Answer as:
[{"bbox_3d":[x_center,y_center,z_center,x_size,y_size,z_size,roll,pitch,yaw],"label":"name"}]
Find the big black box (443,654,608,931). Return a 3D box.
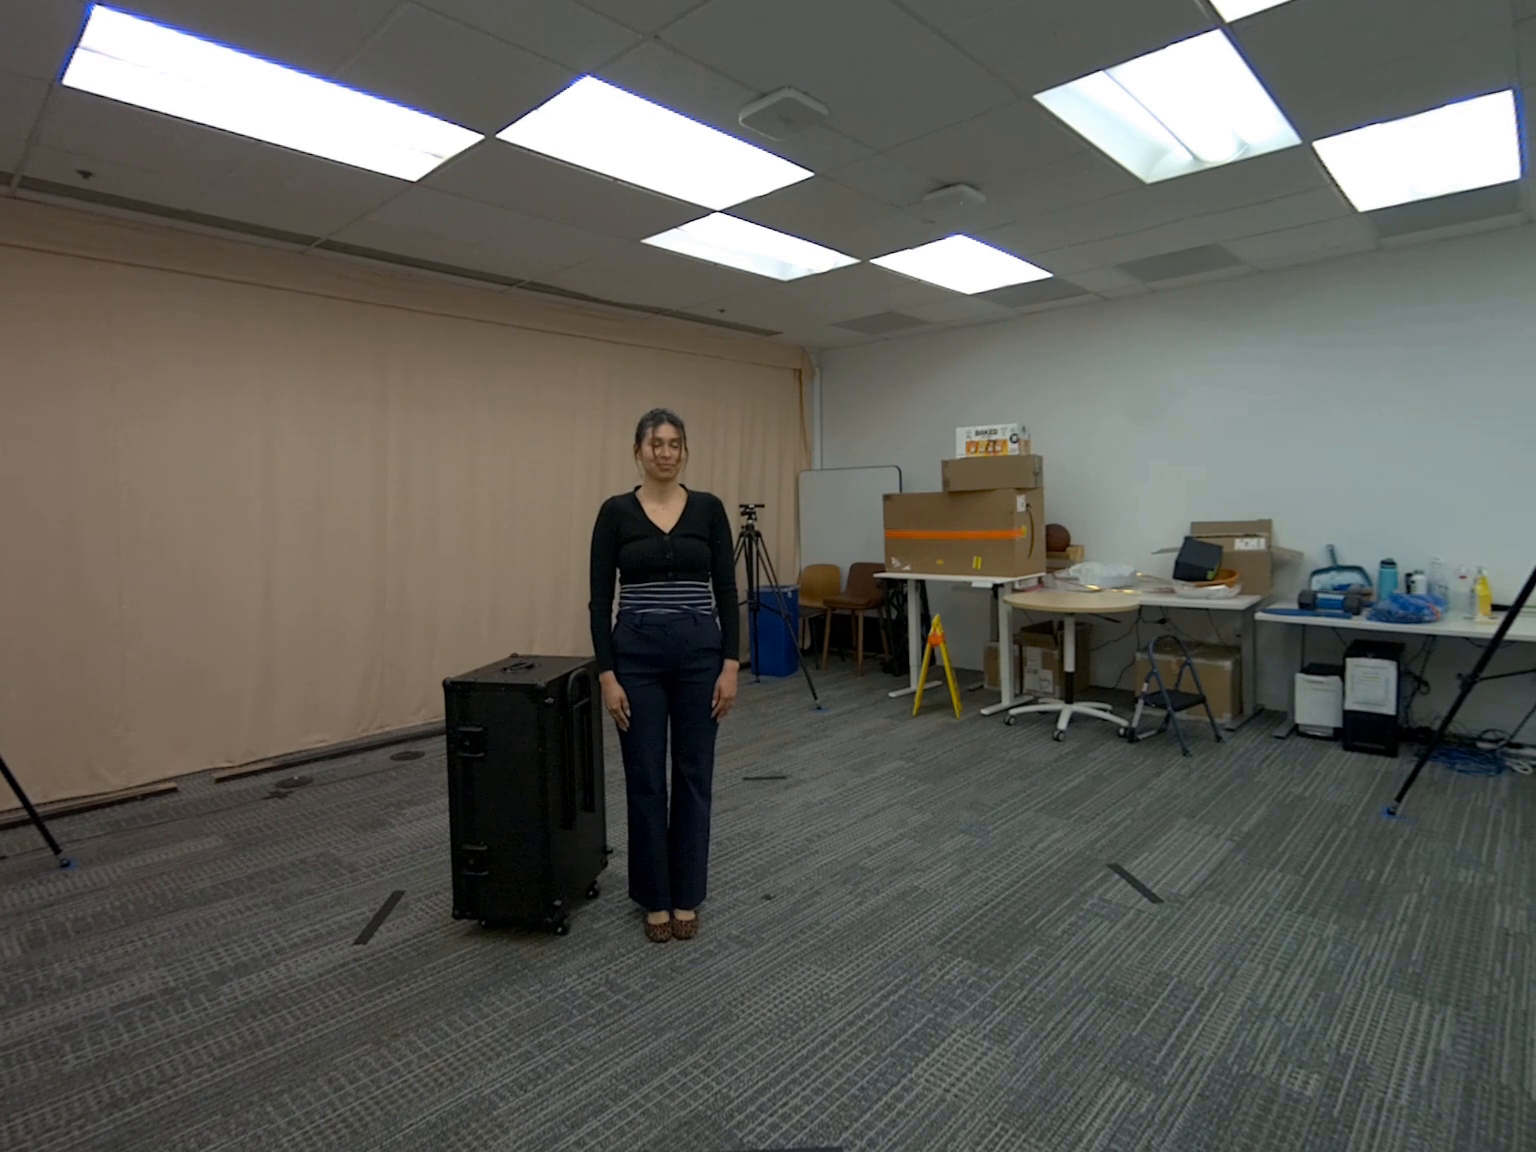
[{"bbox_3d":[-0.808,0.744,2.912,0.402,0.859,0.515,1,4,12],"label":"big black box"}]
